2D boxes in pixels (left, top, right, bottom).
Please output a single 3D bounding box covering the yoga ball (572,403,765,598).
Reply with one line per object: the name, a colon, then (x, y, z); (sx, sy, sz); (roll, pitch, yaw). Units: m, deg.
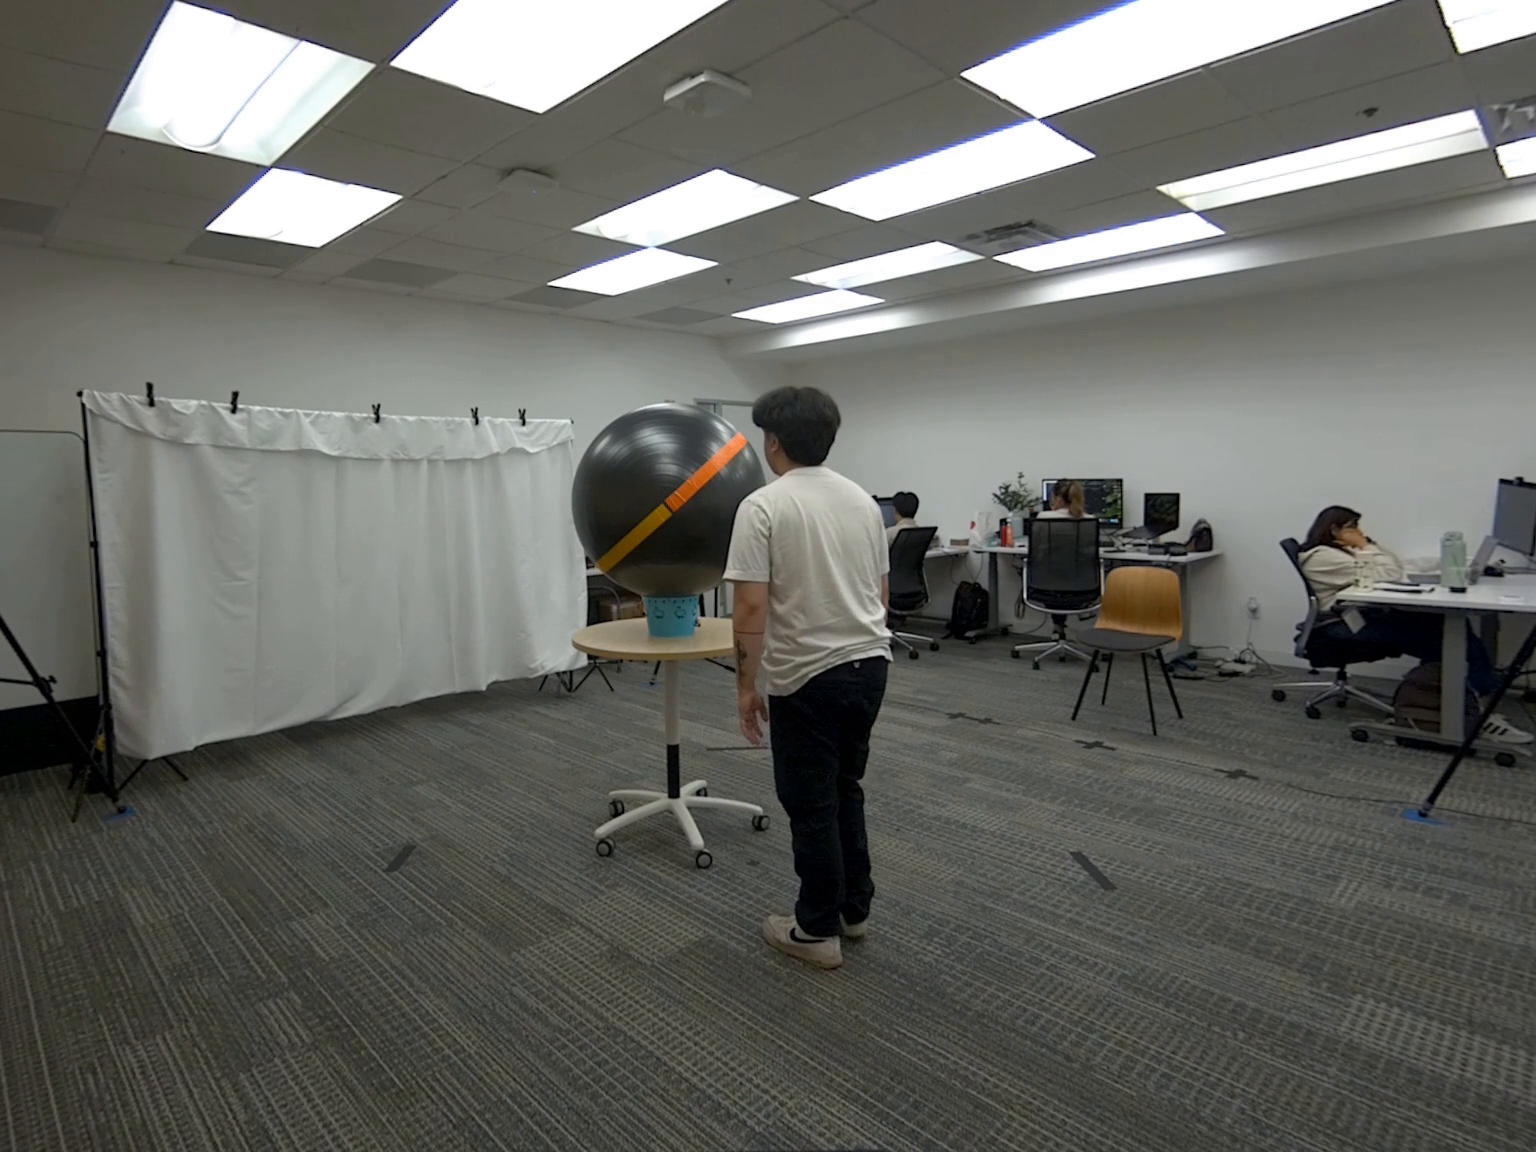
yoga ball: (-0.384, -0.284, 3.323); (0.757, 0.755, 0.762); (-1, 5, -2)
